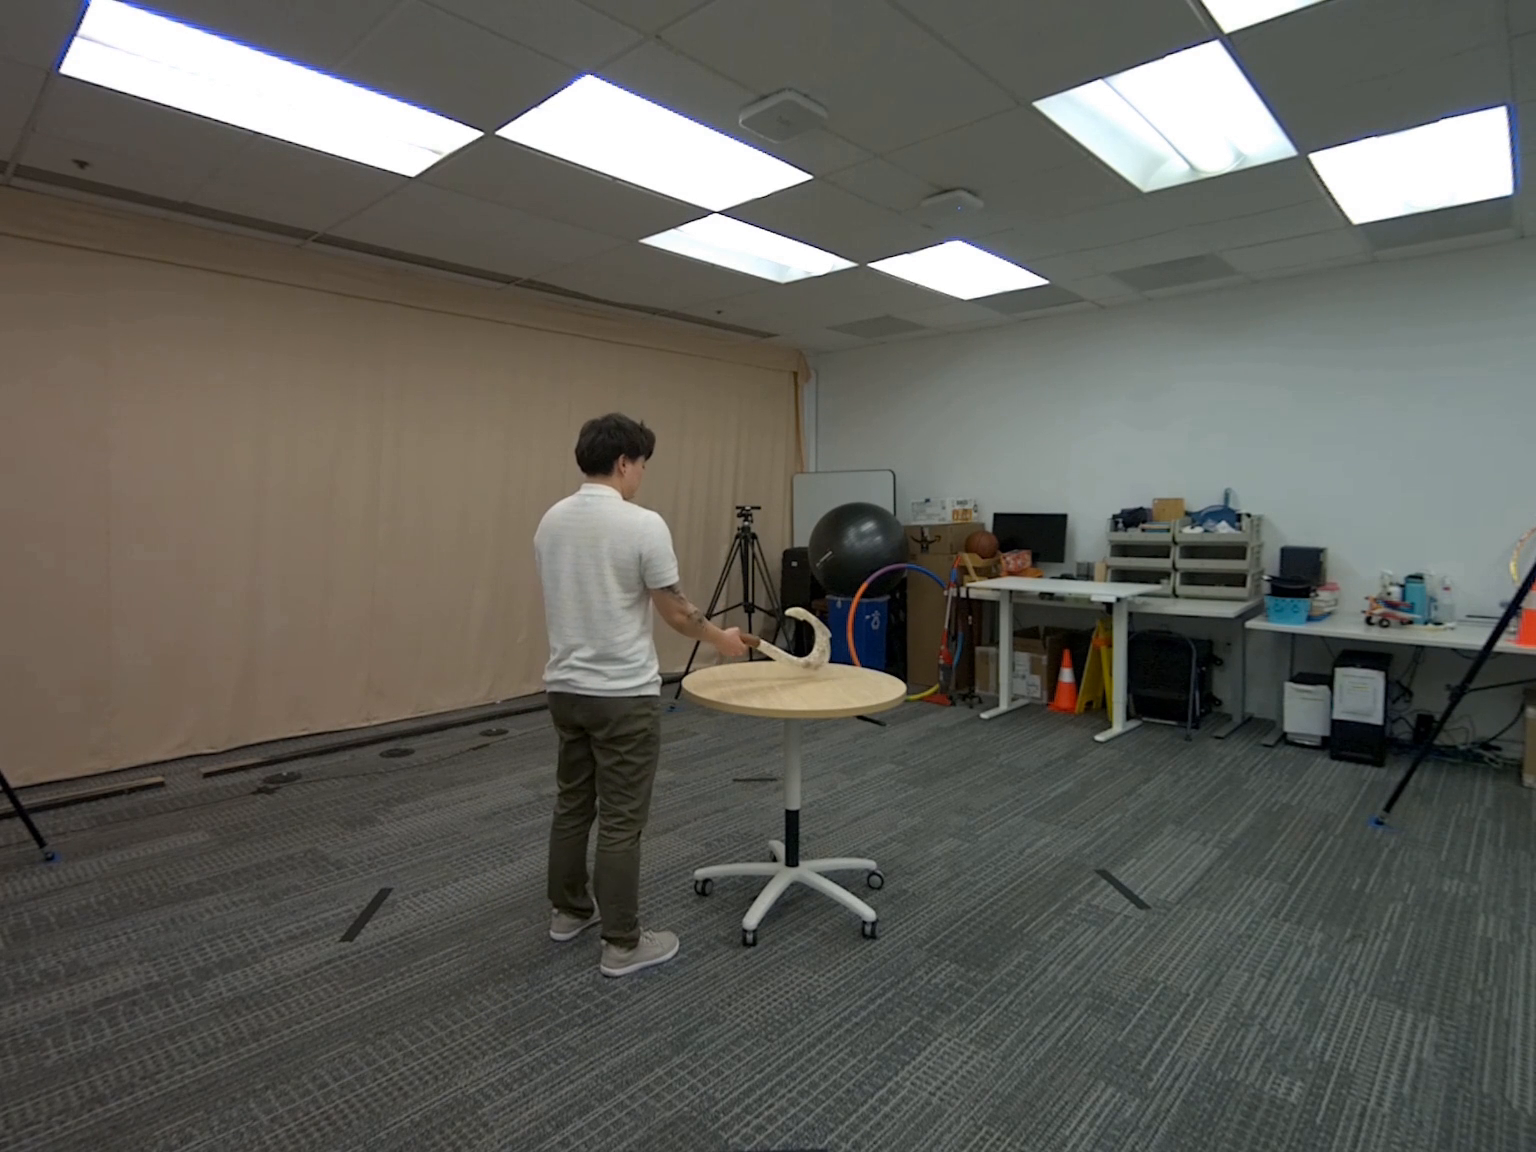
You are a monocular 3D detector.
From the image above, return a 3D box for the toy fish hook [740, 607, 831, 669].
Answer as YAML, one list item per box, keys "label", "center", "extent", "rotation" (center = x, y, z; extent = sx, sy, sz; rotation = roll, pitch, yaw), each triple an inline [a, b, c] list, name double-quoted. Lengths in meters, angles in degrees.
- label: "toy fish hook"
  center: [0.021, 0.201, 2.892]
  extent: [0.492, 0.227, 0.049]
  rotation: [13, -25, -27]
